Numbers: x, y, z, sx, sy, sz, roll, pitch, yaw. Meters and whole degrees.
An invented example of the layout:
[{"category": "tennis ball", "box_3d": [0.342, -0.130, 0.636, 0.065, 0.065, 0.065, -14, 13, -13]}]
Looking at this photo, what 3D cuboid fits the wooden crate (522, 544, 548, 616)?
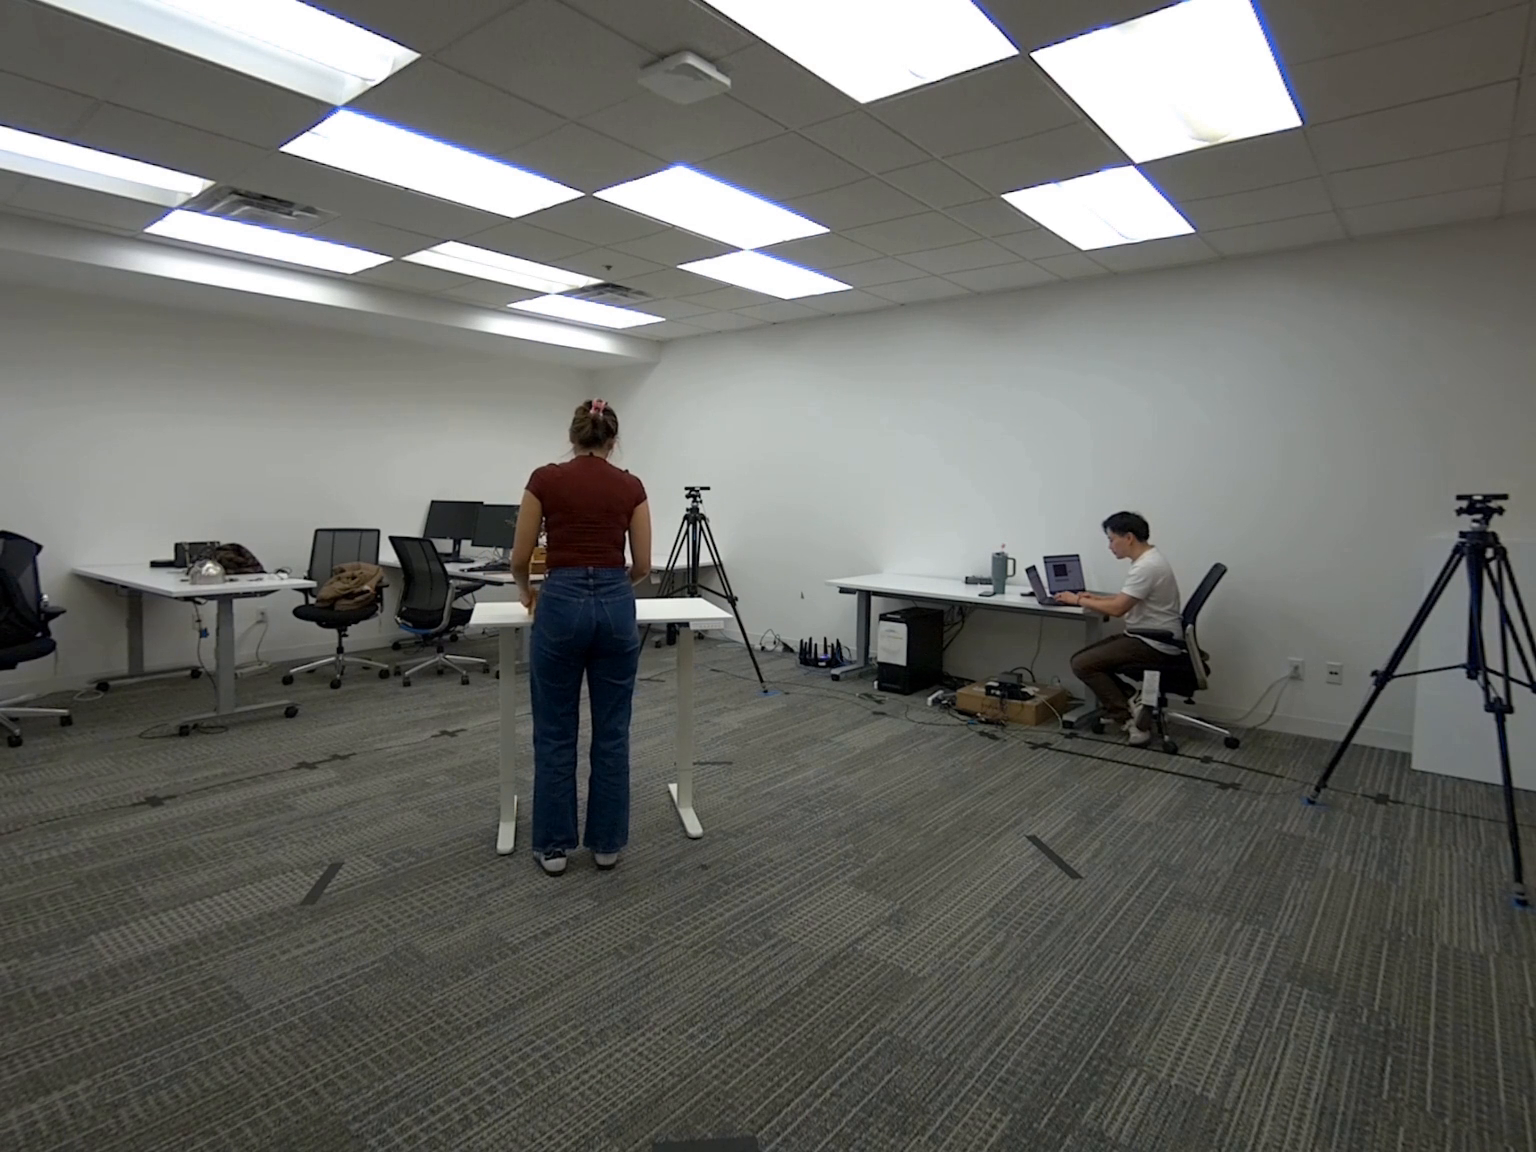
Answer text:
[{"category": "wooden crate", "box_3d": [-0.791, 0.019, 3.352, 0.319, 0.272, 0.308, -1, 4, -18]}]
